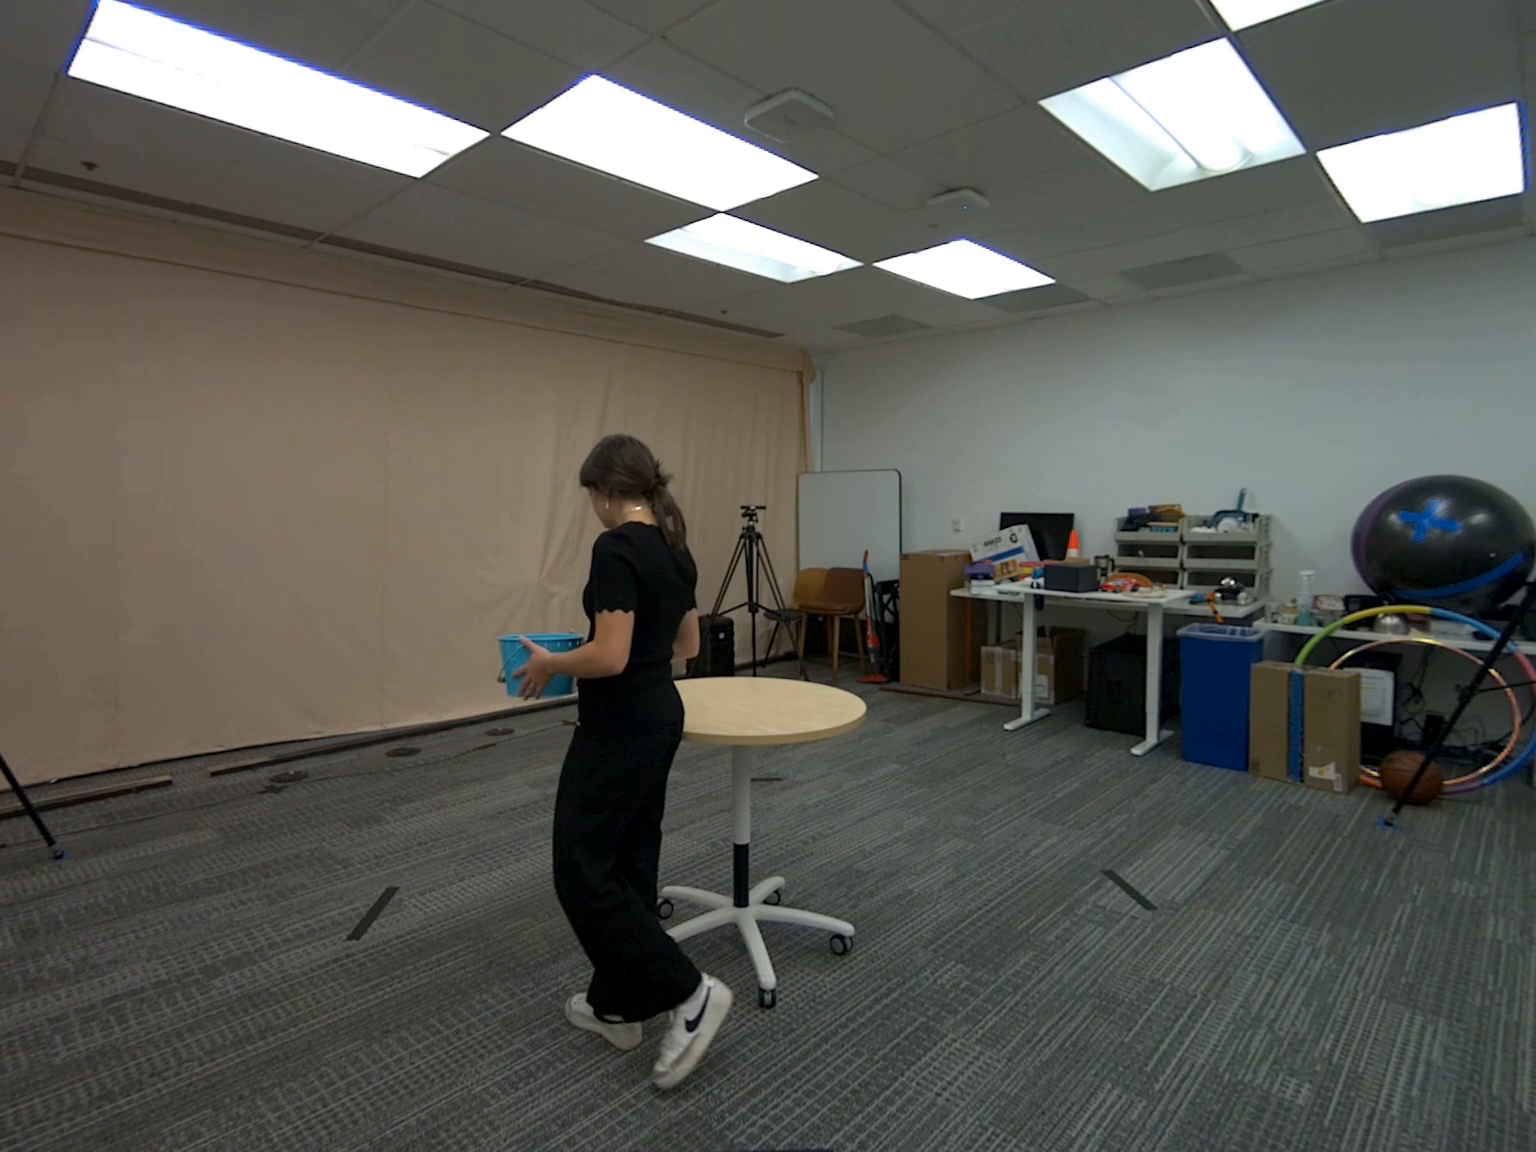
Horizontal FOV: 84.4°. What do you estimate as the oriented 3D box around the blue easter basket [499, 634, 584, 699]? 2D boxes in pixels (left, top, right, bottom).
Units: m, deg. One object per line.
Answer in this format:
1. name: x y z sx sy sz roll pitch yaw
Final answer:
1. blue easter basket: -0.607 0.243 2.260 0.243 0.156 0.244 0 0 -2
